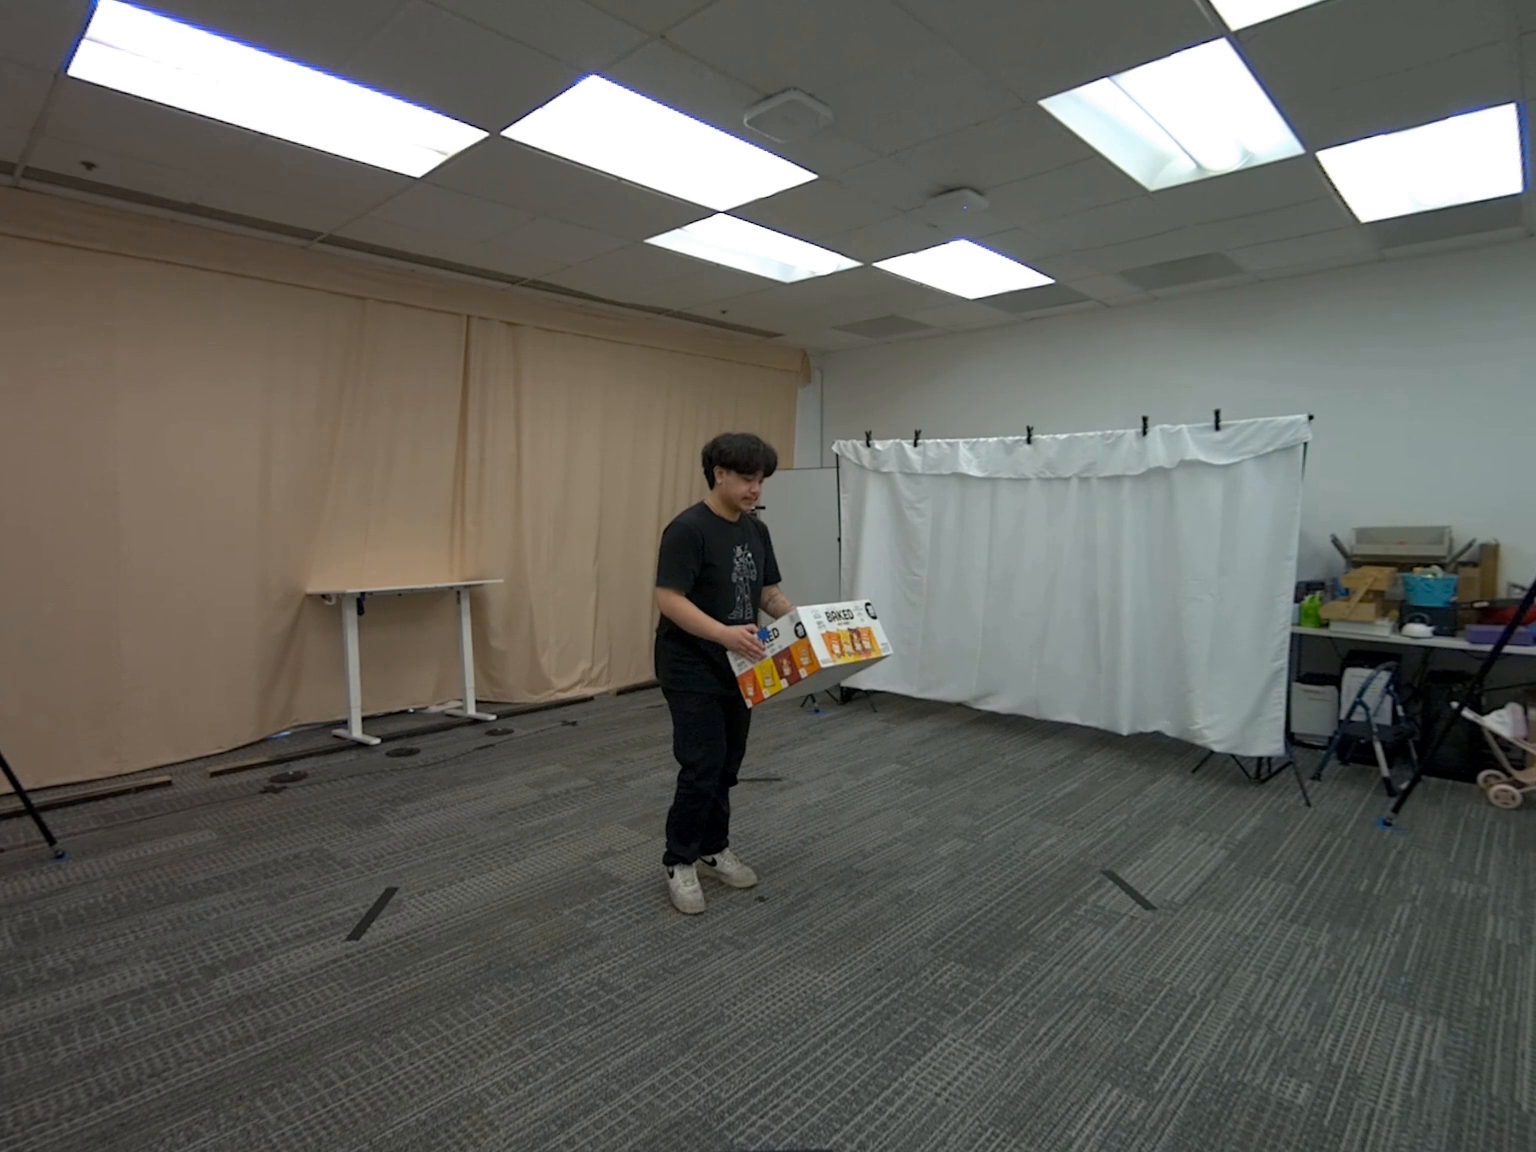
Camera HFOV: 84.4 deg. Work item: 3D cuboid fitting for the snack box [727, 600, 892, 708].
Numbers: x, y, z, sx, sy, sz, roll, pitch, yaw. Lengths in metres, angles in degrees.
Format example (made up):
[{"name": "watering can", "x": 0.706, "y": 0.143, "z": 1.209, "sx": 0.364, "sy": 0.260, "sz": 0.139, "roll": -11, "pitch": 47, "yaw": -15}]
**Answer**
[{"name": "snack box", "x": 0.140, "y": 0.254, "z": 2.785, "sx": 0.345, "sy": 0.209, "sz": 0.393, "roll": -34, "pitch": -20, "yaw": 37}]
